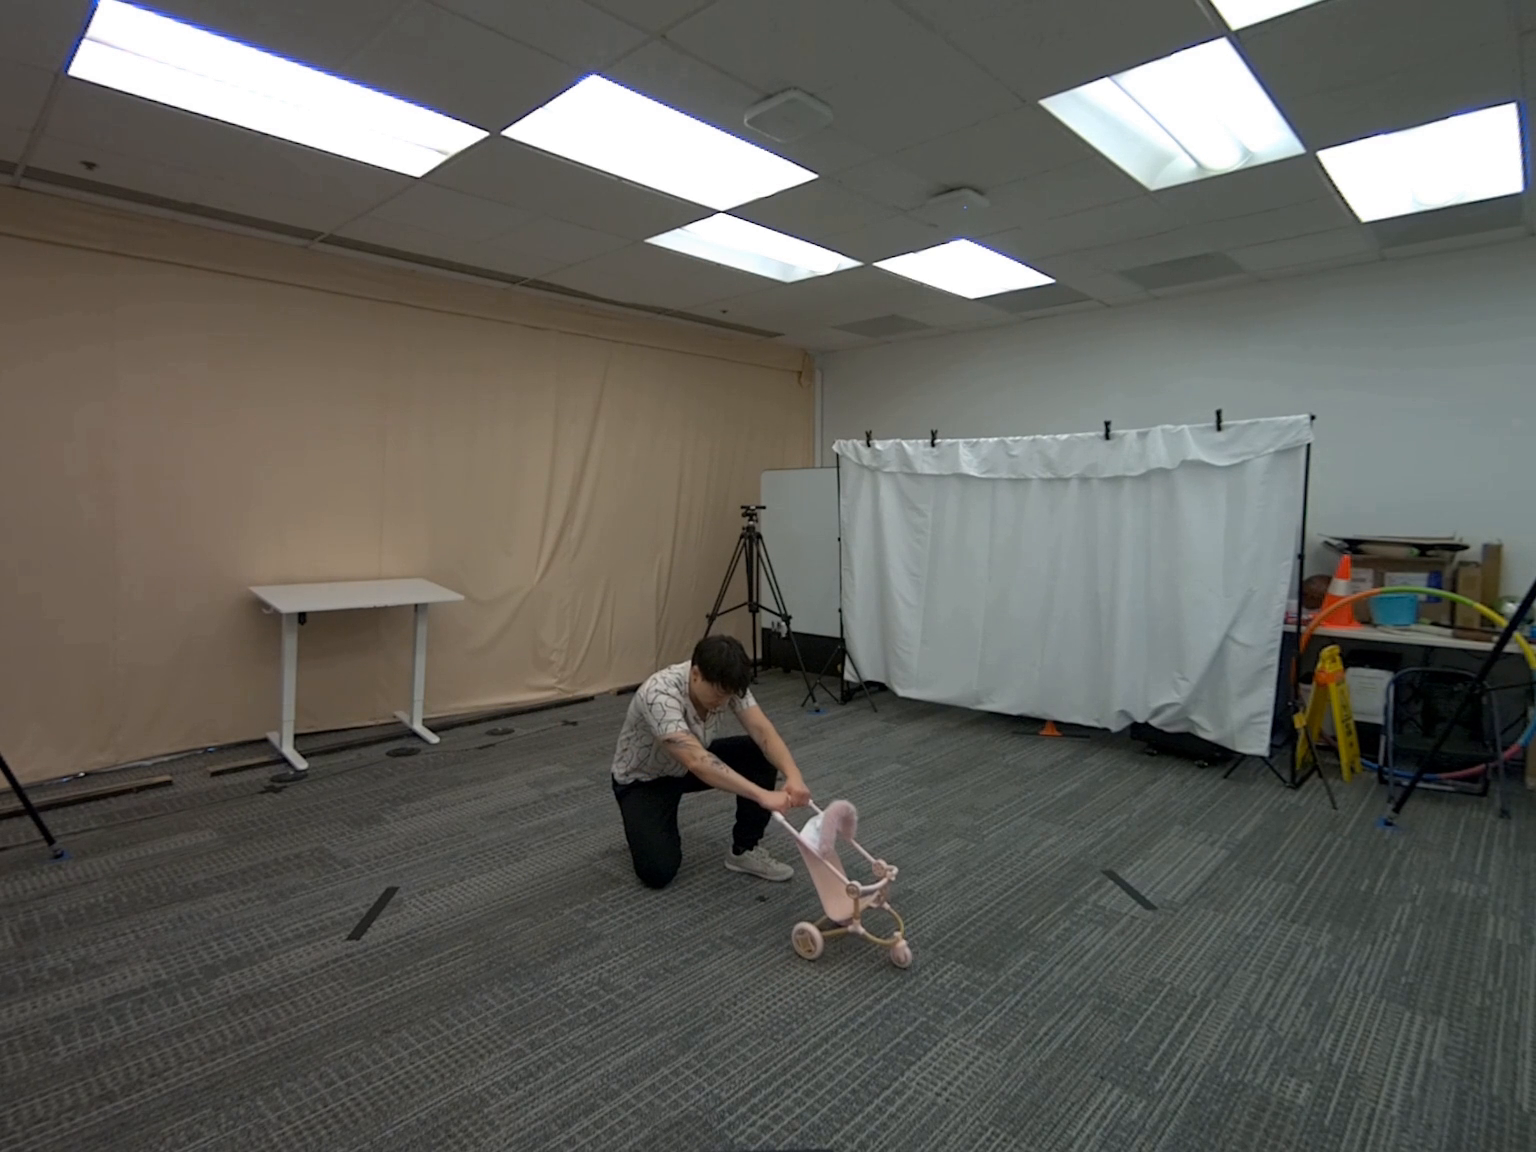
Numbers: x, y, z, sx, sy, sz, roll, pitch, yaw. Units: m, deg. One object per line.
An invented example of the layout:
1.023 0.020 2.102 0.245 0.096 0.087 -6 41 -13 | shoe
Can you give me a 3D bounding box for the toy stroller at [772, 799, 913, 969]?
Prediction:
0.240 0.946 2.643 0.349 0.538 0.273 -18 -8 38 | toy stroller
